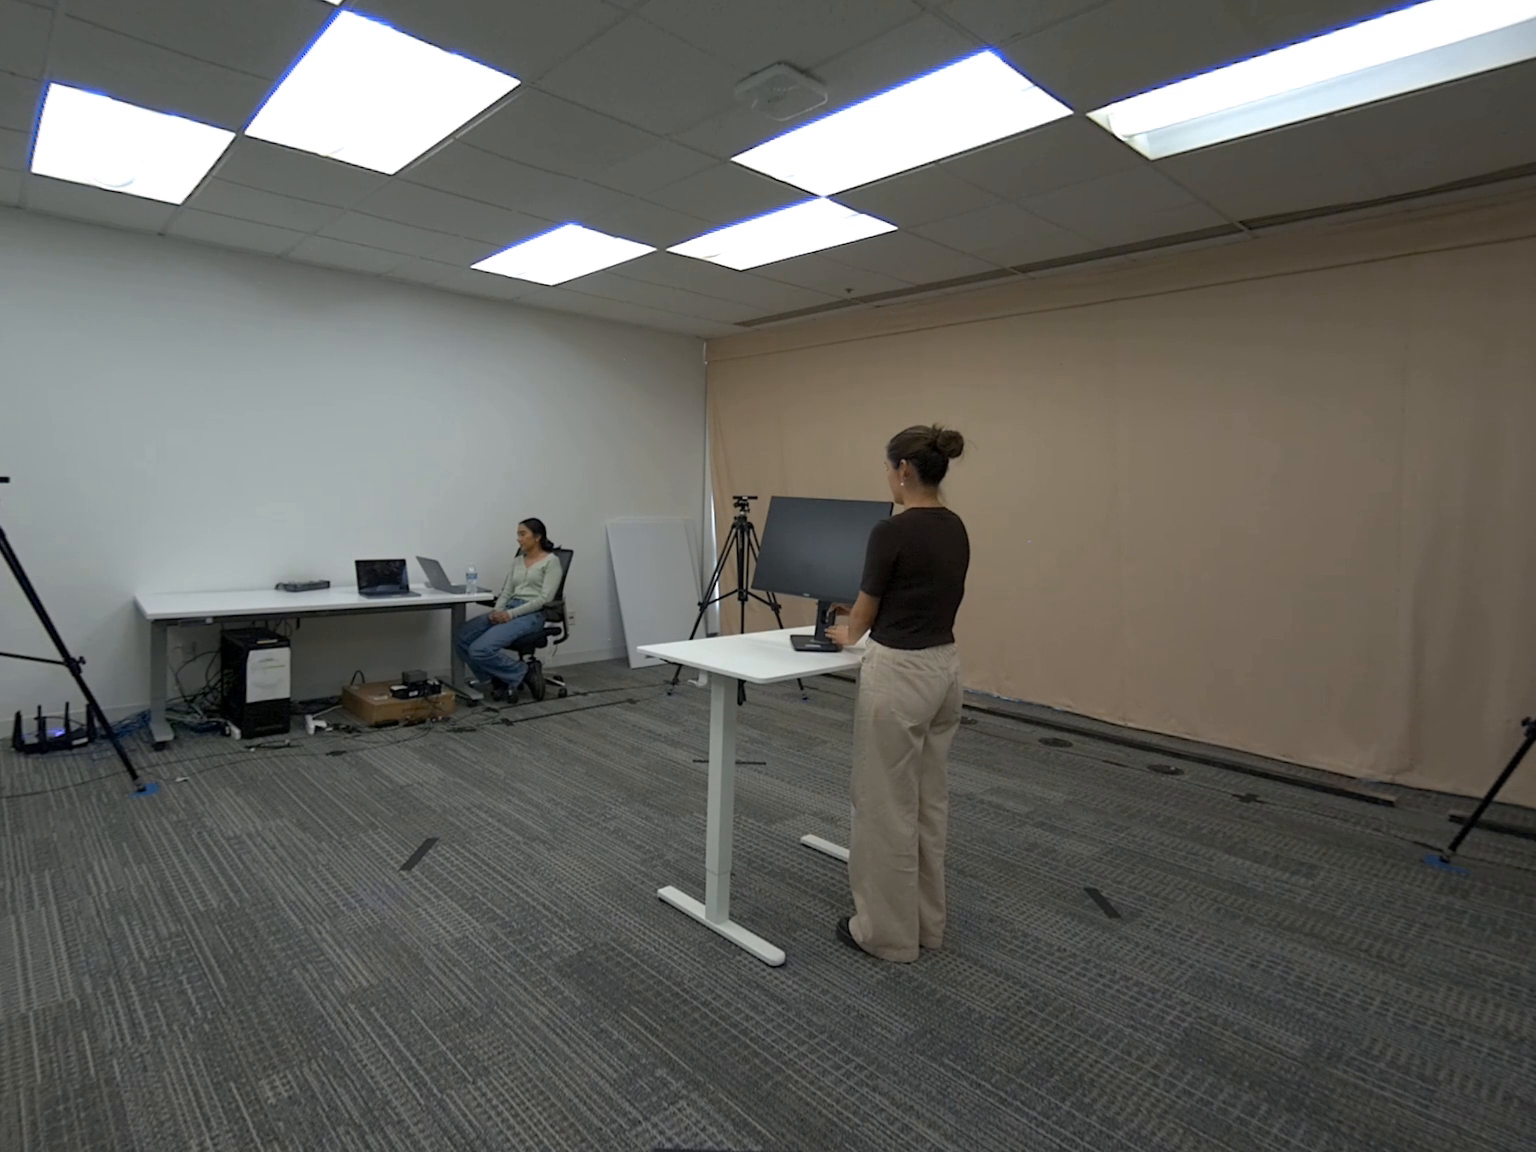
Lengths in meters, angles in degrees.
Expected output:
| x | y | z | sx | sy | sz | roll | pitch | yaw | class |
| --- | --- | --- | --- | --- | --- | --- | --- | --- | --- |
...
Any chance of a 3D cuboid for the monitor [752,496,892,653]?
| x | y | z | sx | sy | sz | roll | pitch | yaw | class |
| --- | --- | --- | --- | --- | --- | --- | --- | --- | --- |
| 0.193 | -0.006 | 2.916 | 0.553 | 0.520 | 0.183 | 7 | 7 | 40 | monitor |
